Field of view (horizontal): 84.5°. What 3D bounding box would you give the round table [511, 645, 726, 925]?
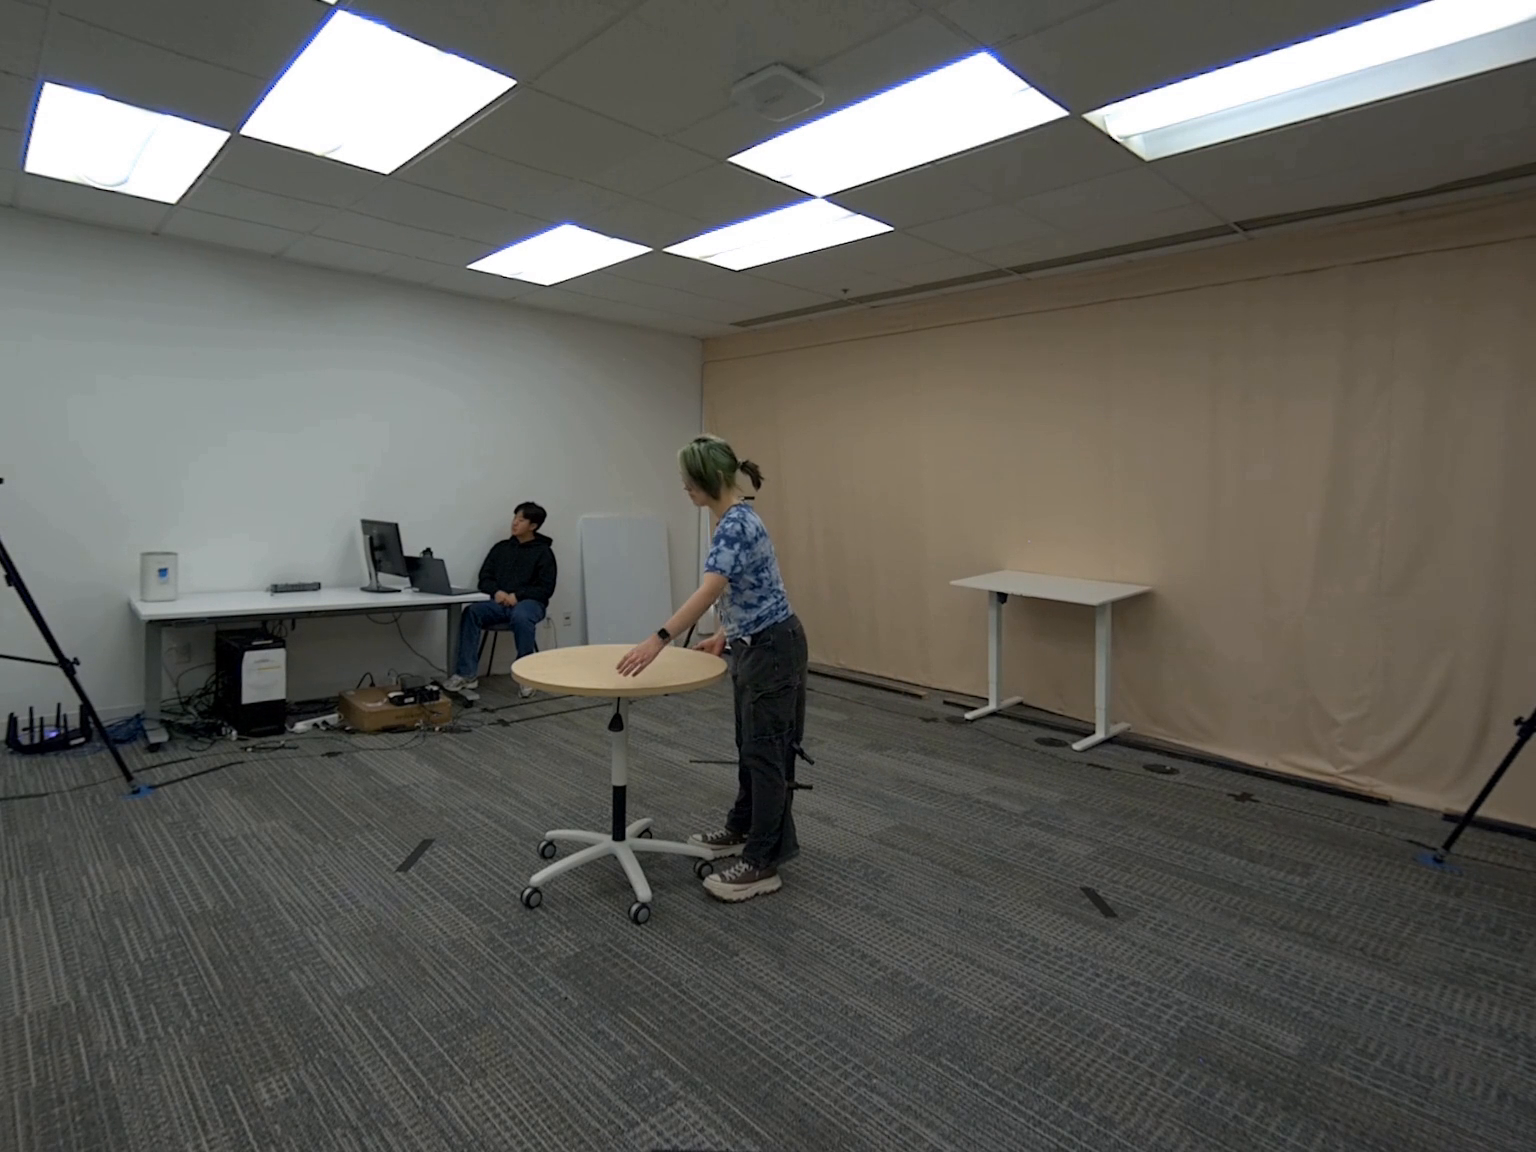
[{"bbox_3d":[-0.549,0.713,3.034,0.763,0.791,0.767,1,5,-1],"label":"round table"}]
